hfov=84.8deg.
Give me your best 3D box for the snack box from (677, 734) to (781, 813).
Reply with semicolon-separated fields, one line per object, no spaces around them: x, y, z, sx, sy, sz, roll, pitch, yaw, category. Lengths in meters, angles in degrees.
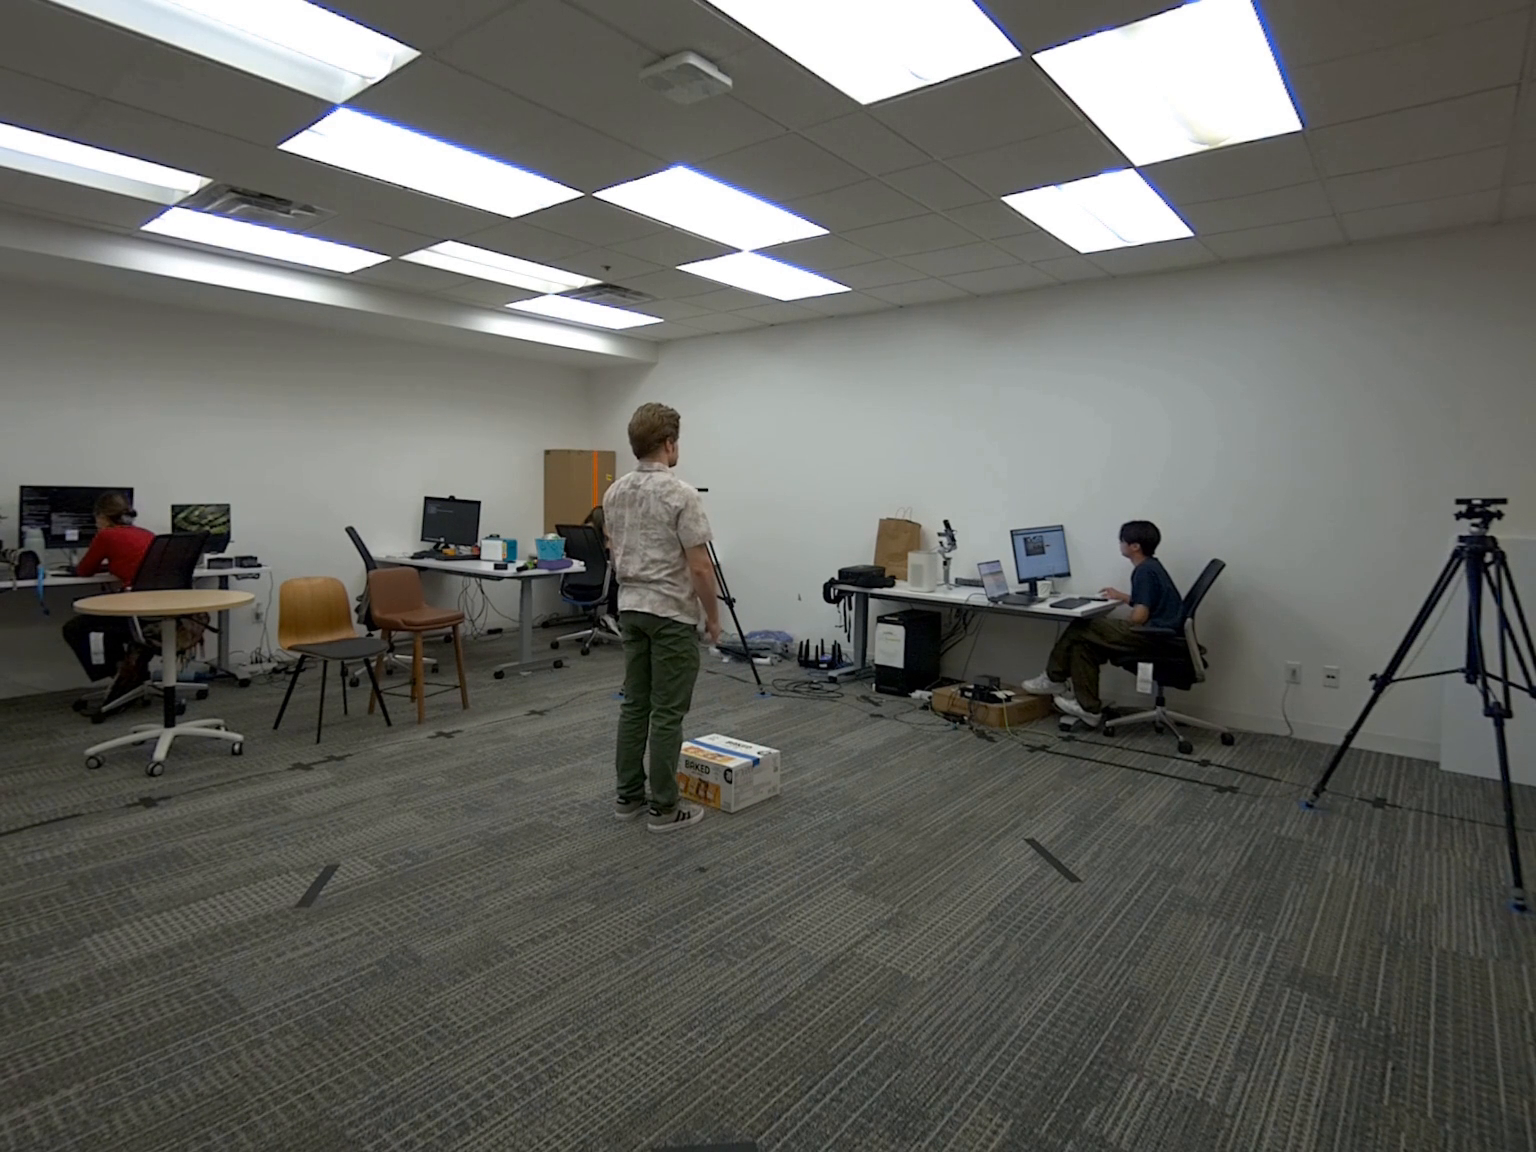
-0.219;0.894;3.909;0.419;0.205;0.330;5;6;39;snack box
